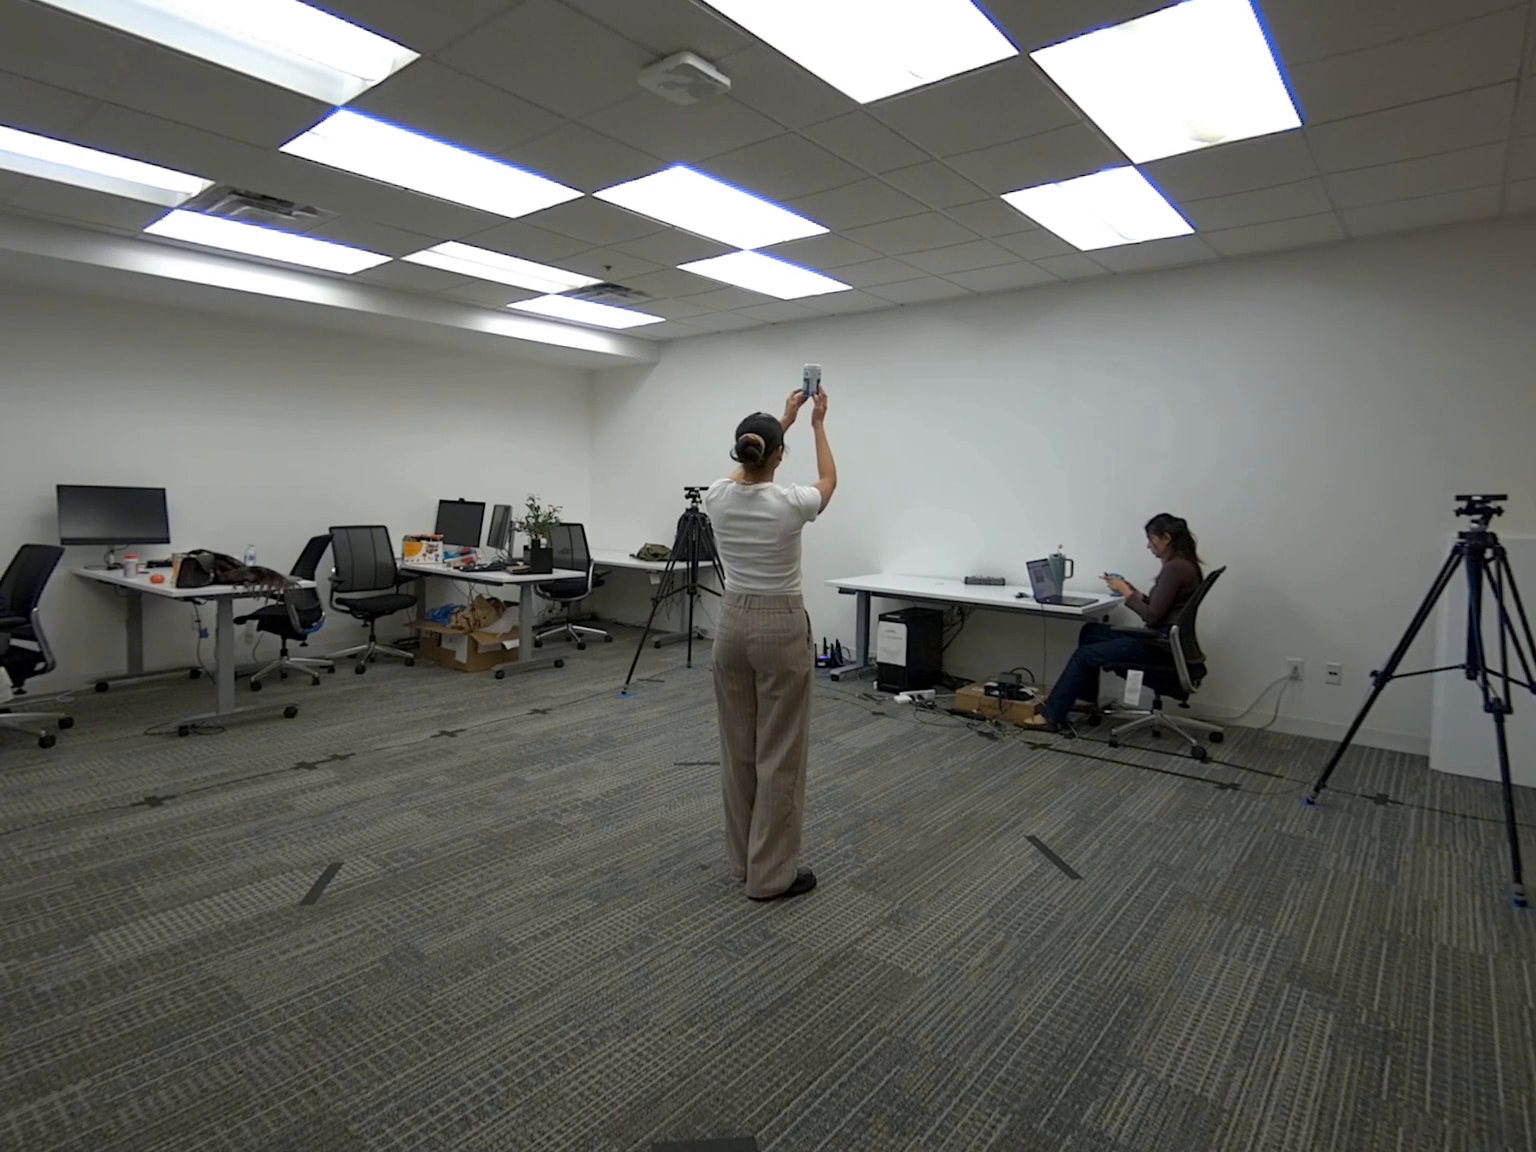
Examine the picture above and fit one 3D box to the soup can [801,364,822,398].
[{"bbox_3d":[0.161,-0.748,3.227,0.067,0.120,0.068,4,9,-3],"label":"soup can"}]
